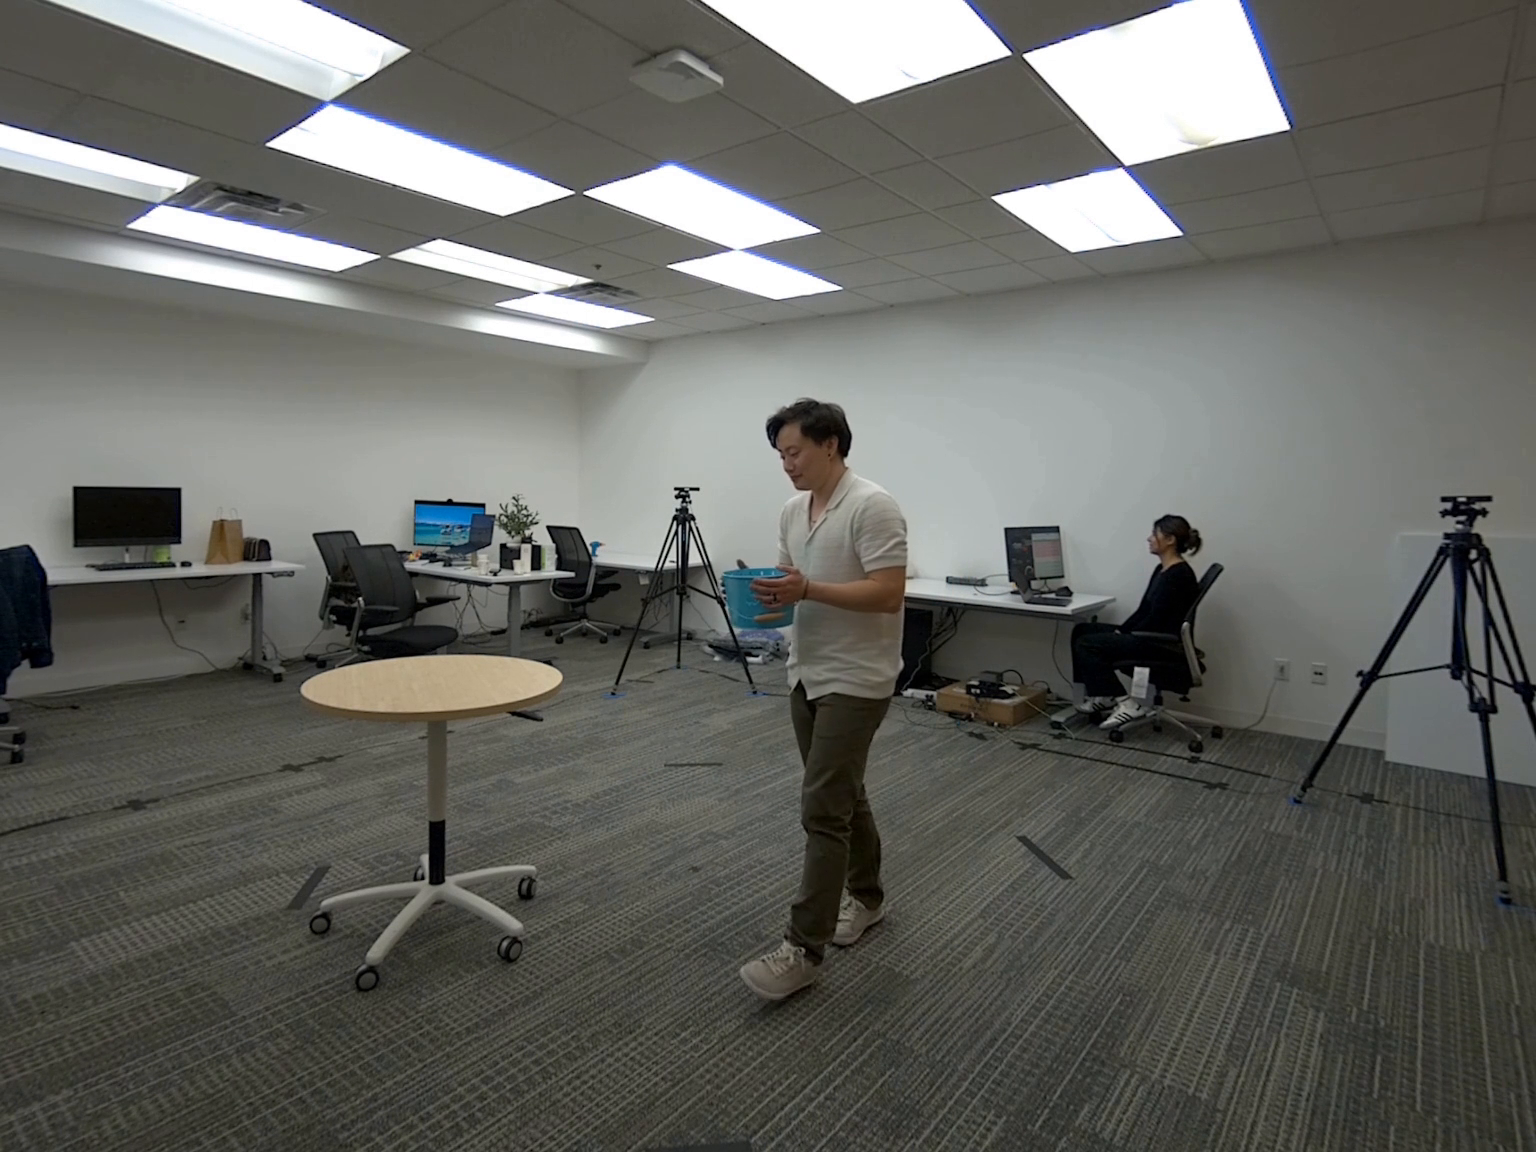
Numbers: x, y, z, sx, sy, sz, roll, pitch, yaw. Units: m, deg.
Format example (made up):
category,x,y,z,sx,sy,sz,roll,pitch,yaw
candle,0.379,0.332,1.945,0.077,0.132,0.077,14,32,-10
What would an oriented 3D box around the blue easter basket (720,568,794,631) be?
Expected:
category,x,y,z,sx,sy,sz,roll,pitch,yaw
blue easter basket,-0.022,0.065,2.465,0.243,0.155,0.245,-3,5,-2
